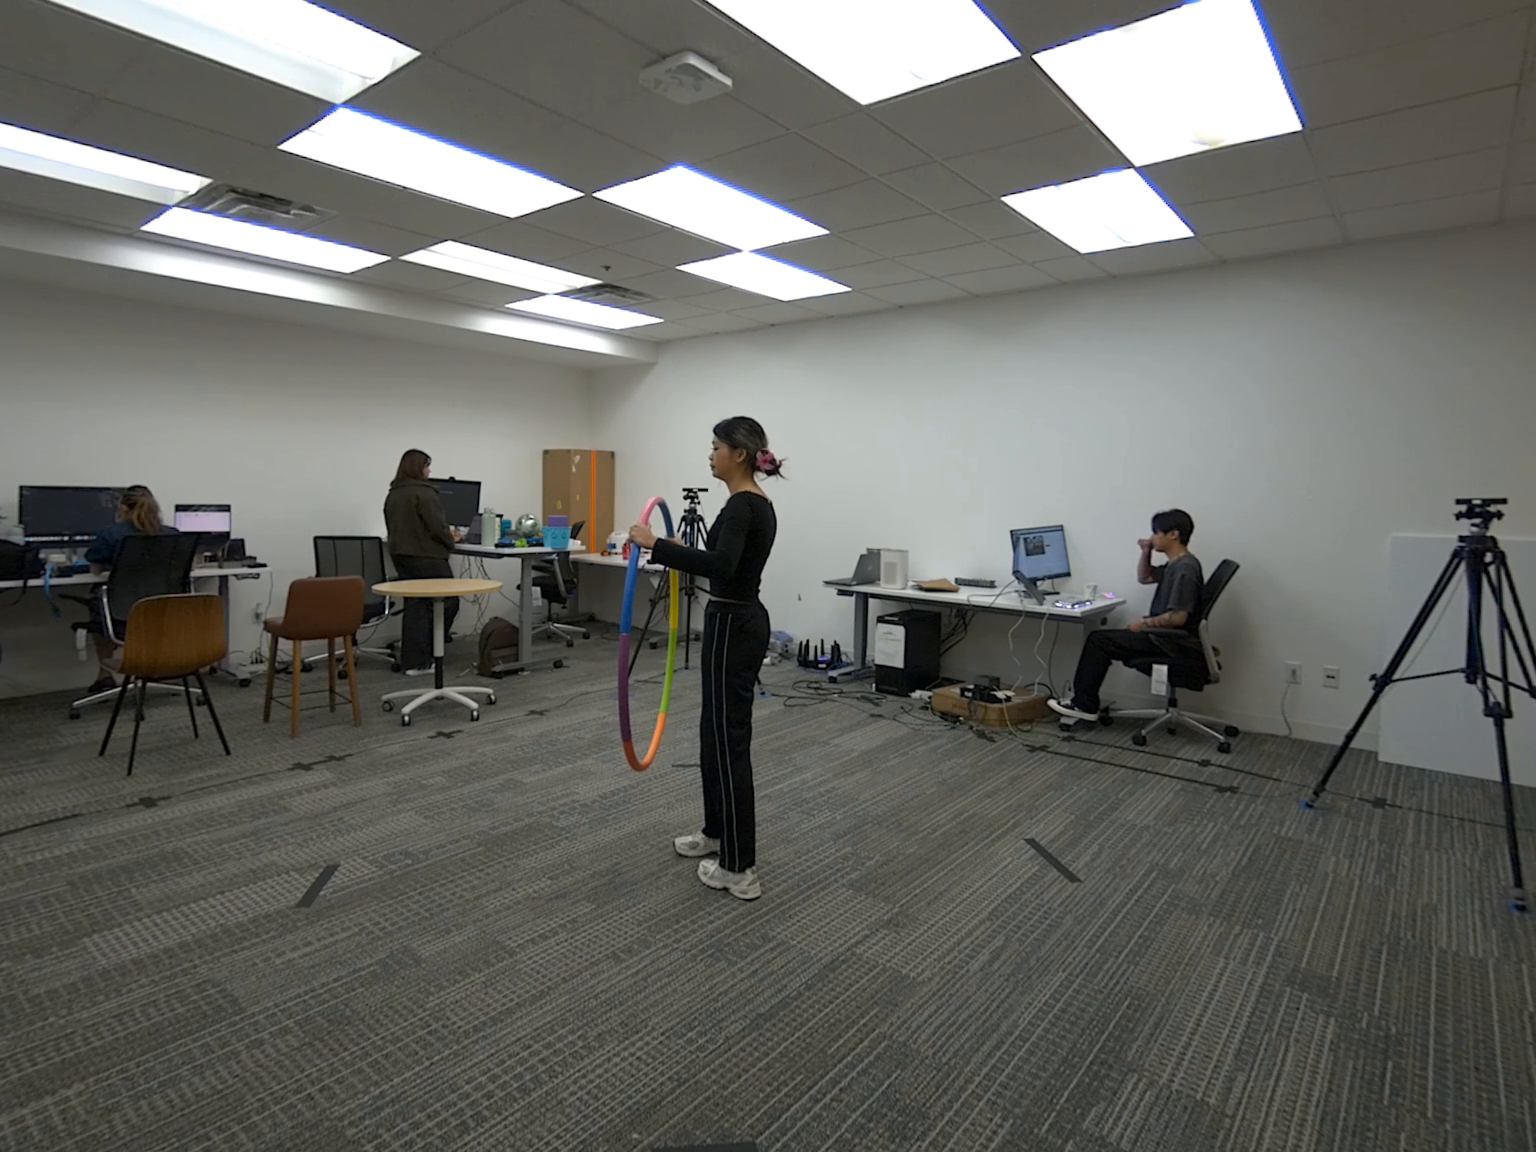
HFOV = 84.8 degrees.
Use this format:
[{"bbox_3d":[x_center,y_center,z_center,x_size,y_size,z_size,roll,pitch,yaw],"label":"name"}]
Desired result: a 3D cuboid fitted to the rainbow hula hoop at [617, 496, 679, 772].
[{"bbox_3d":[-0.433,0.205,3.129,0.036,0.976,0.975,2,4,4],"label":"rainbow hula hoop"}]
